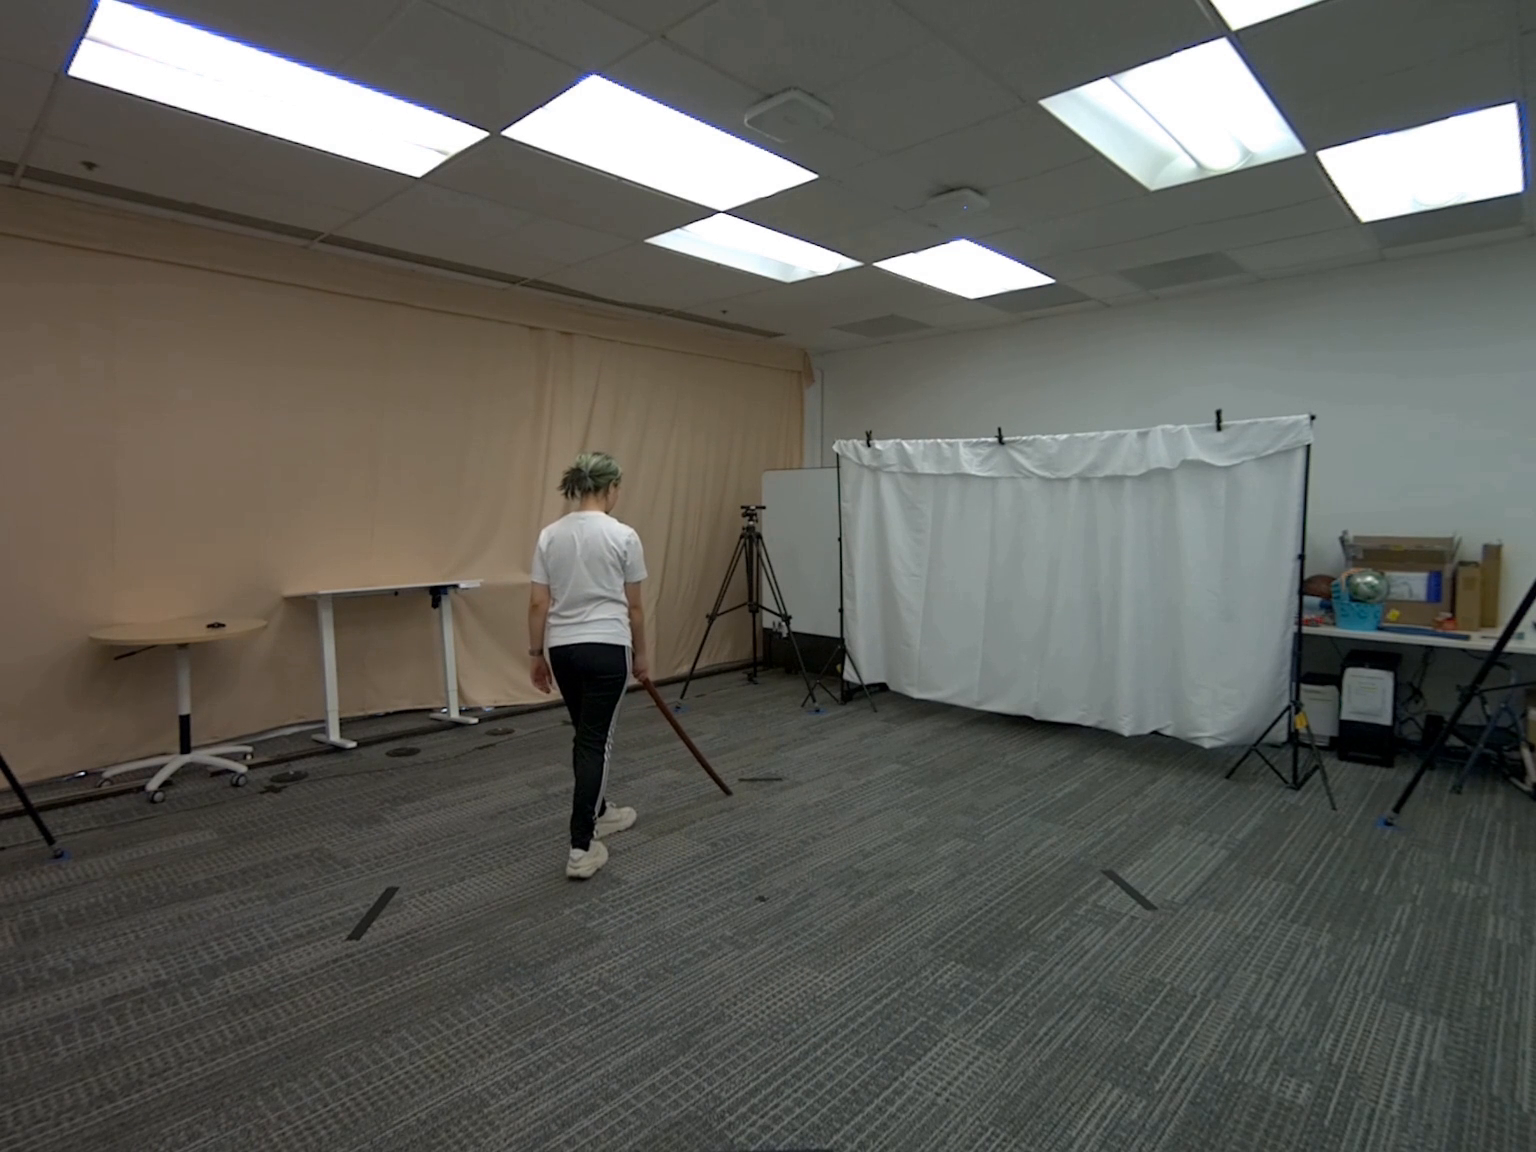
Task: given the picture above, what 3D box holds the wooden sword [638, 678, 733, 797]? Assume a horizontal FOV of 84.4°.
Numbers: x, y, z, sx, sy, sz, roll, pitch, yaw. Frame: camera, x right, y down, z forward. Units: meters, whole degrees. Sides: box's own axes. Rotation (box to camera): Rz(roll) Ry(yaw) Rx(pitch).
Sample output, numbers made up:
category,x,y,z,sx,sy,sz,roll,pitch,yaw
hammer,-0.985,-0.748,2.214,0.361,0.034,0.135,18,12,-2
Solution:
category,x,y,z,sx,sy,sz,roll,pitch,yaw
wooden sword,-0.401,0.708,3.814,0.051,0.995,0.025,-27,33,7
